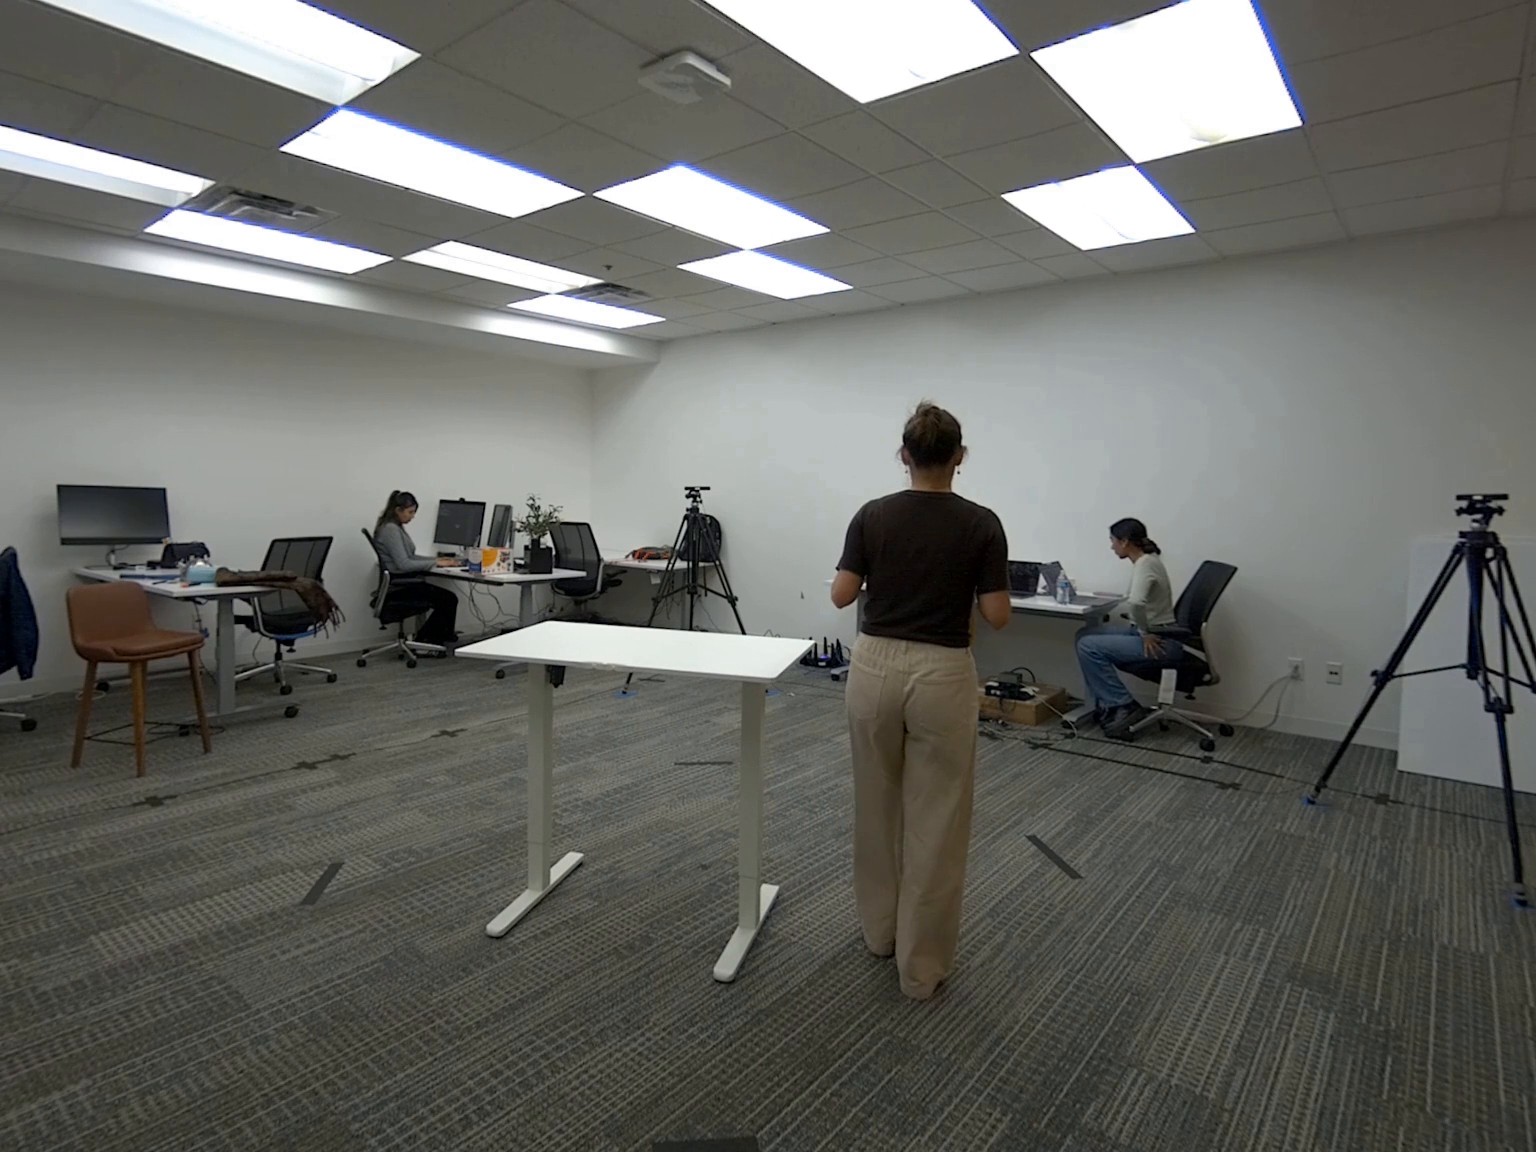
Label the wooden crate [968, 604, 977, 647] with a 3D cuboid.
[{"bbox_3d":[0.473,0.072,2.682,0.331,0.274,0.294,4,-4,18],"label":"wooden crate"}]
